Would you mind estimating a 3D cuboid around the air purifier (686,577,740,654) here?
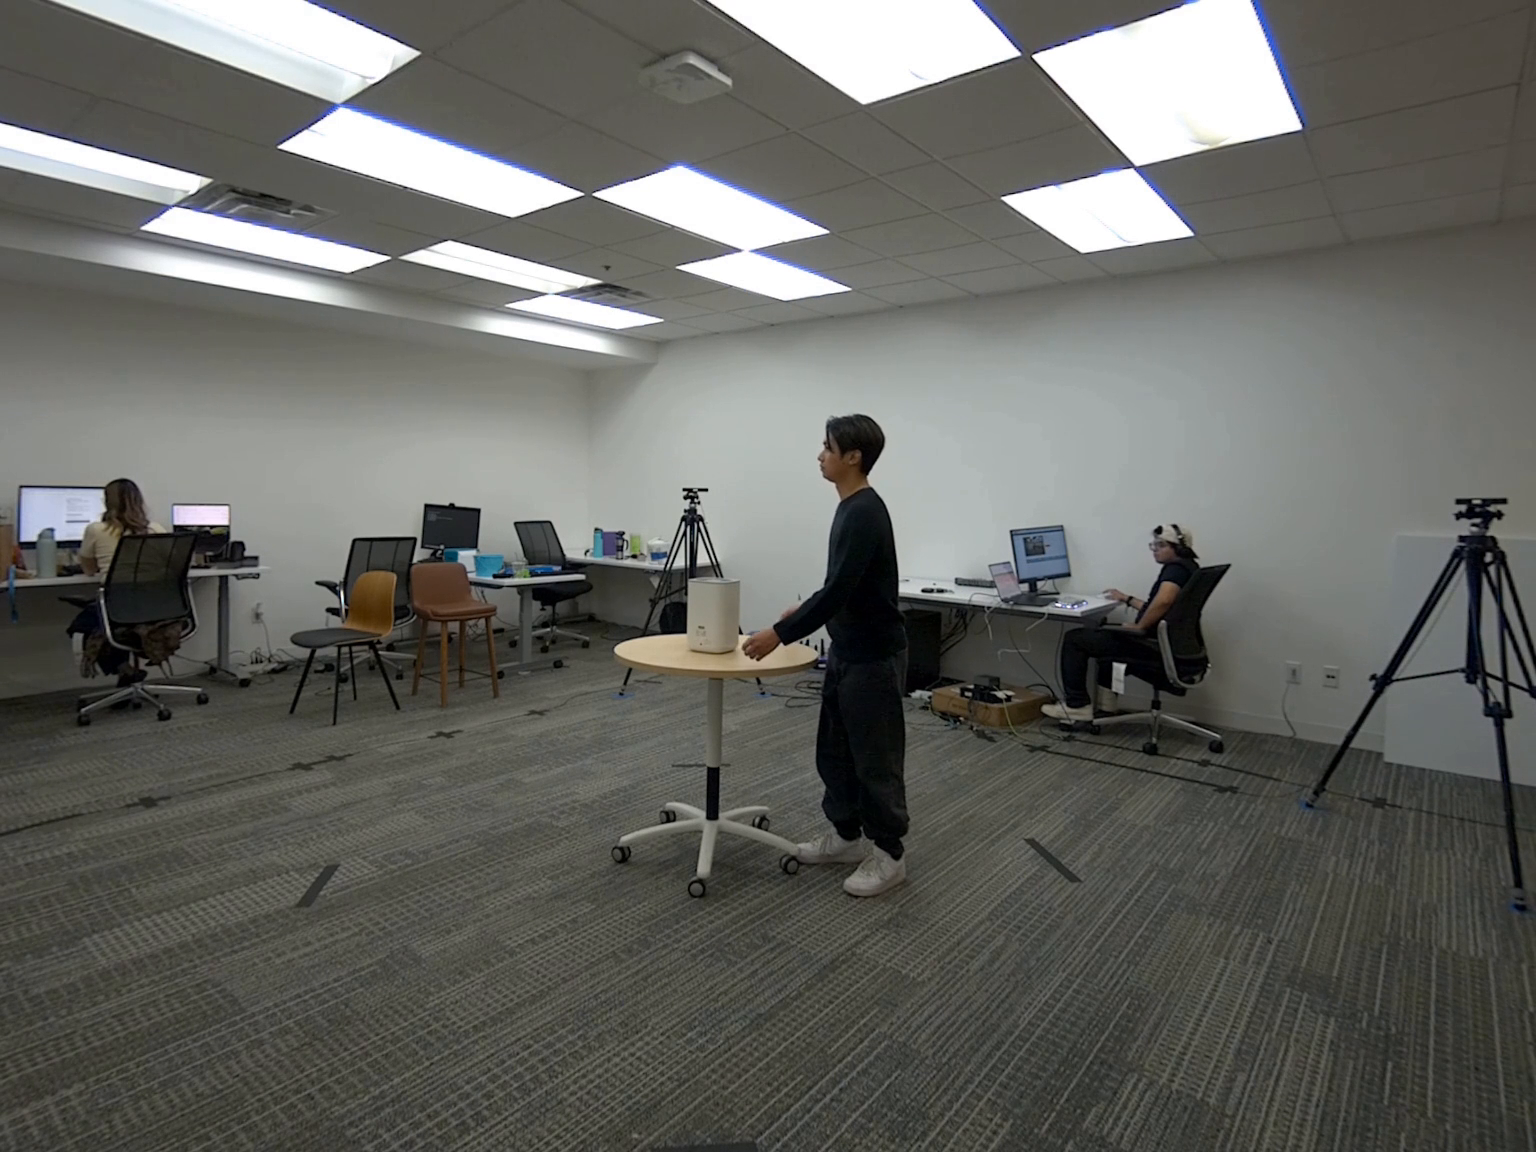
[{"bbox_3d":[-0.214,0.142,3.199,0.176,0.264,0.167,3,4,28],"label":"air purifier"}]
